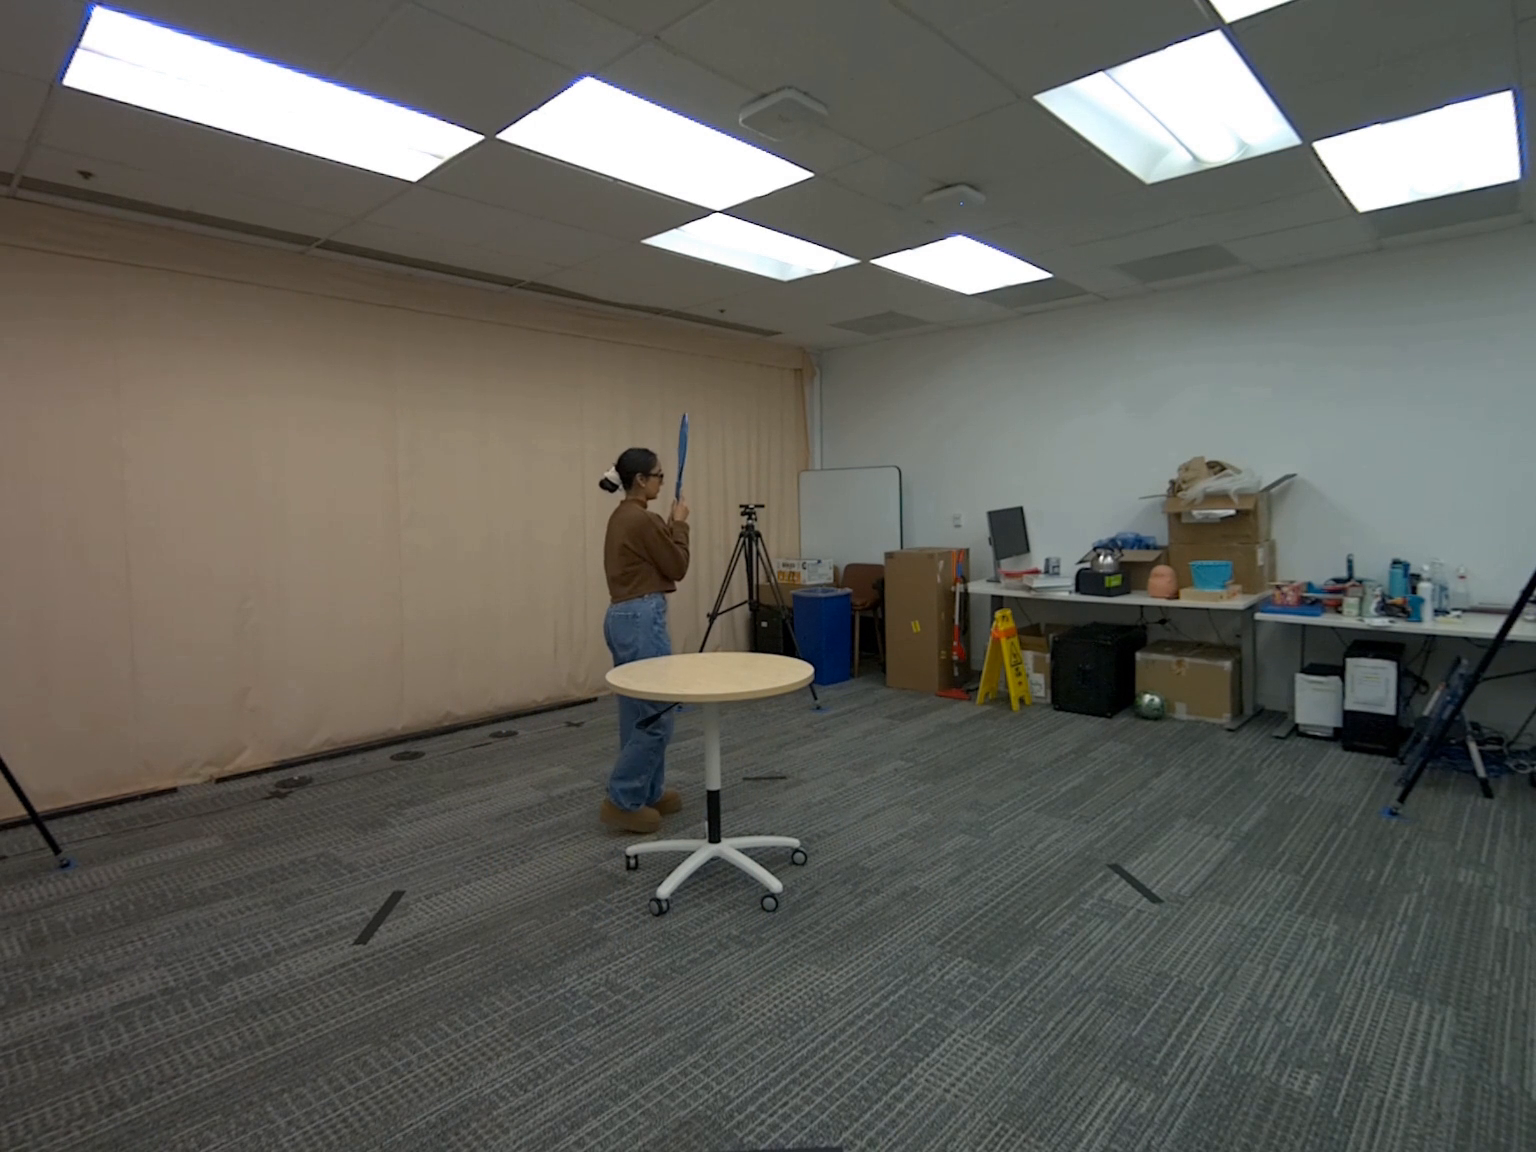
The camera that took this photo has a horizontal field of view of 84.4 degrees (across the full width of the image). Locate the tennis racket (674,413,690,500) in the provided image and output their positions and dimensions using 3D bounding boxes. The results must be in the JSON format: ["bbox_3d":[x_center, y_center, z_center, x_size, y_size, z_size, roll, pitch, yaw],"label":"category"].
[{"bbox_3d":[-0.395,-0.521,3.790,0.031,0.431,0.217,4,7,-15],"label":"tennis racket"}]
